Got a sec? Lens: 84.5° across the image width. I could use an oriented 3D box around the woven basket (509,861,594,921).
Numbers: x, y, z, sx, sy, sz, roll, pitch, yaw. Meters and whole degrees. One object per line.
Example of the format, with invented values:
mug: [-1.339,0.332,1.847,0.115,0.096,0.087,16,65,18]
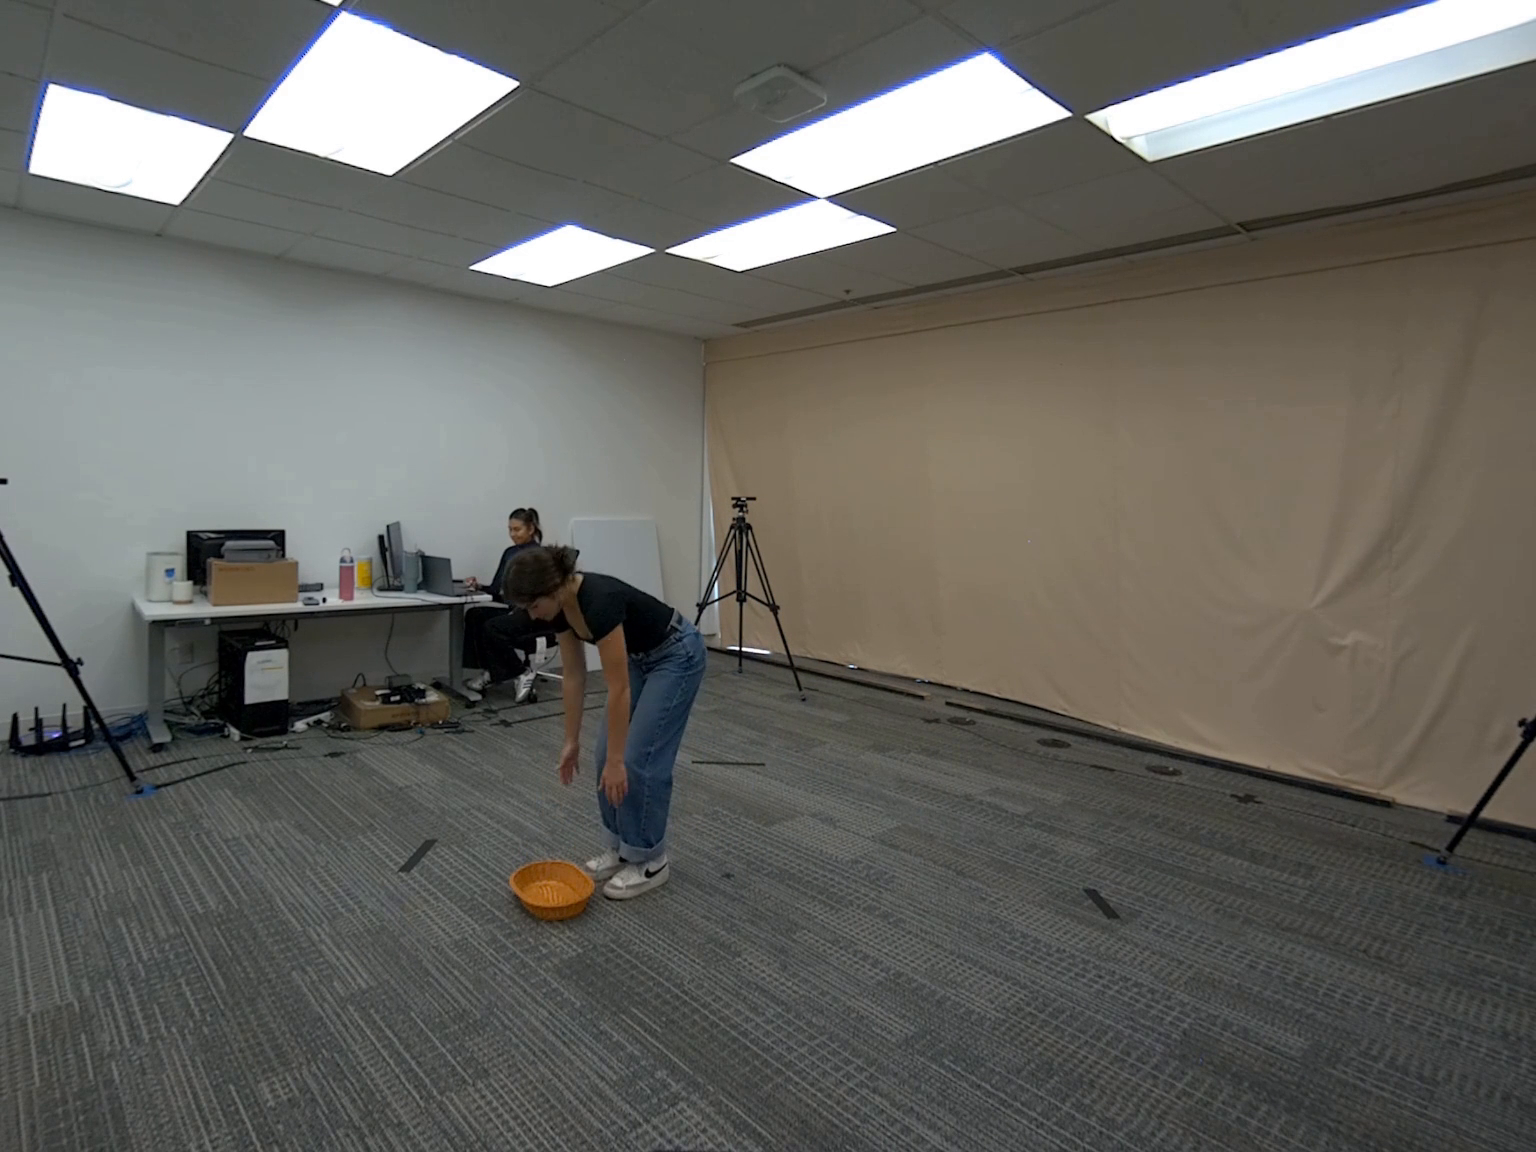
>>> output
woven basket: [-0.743,1.076,2.872,0.247,0.073,0.359,-4,8,-34]
